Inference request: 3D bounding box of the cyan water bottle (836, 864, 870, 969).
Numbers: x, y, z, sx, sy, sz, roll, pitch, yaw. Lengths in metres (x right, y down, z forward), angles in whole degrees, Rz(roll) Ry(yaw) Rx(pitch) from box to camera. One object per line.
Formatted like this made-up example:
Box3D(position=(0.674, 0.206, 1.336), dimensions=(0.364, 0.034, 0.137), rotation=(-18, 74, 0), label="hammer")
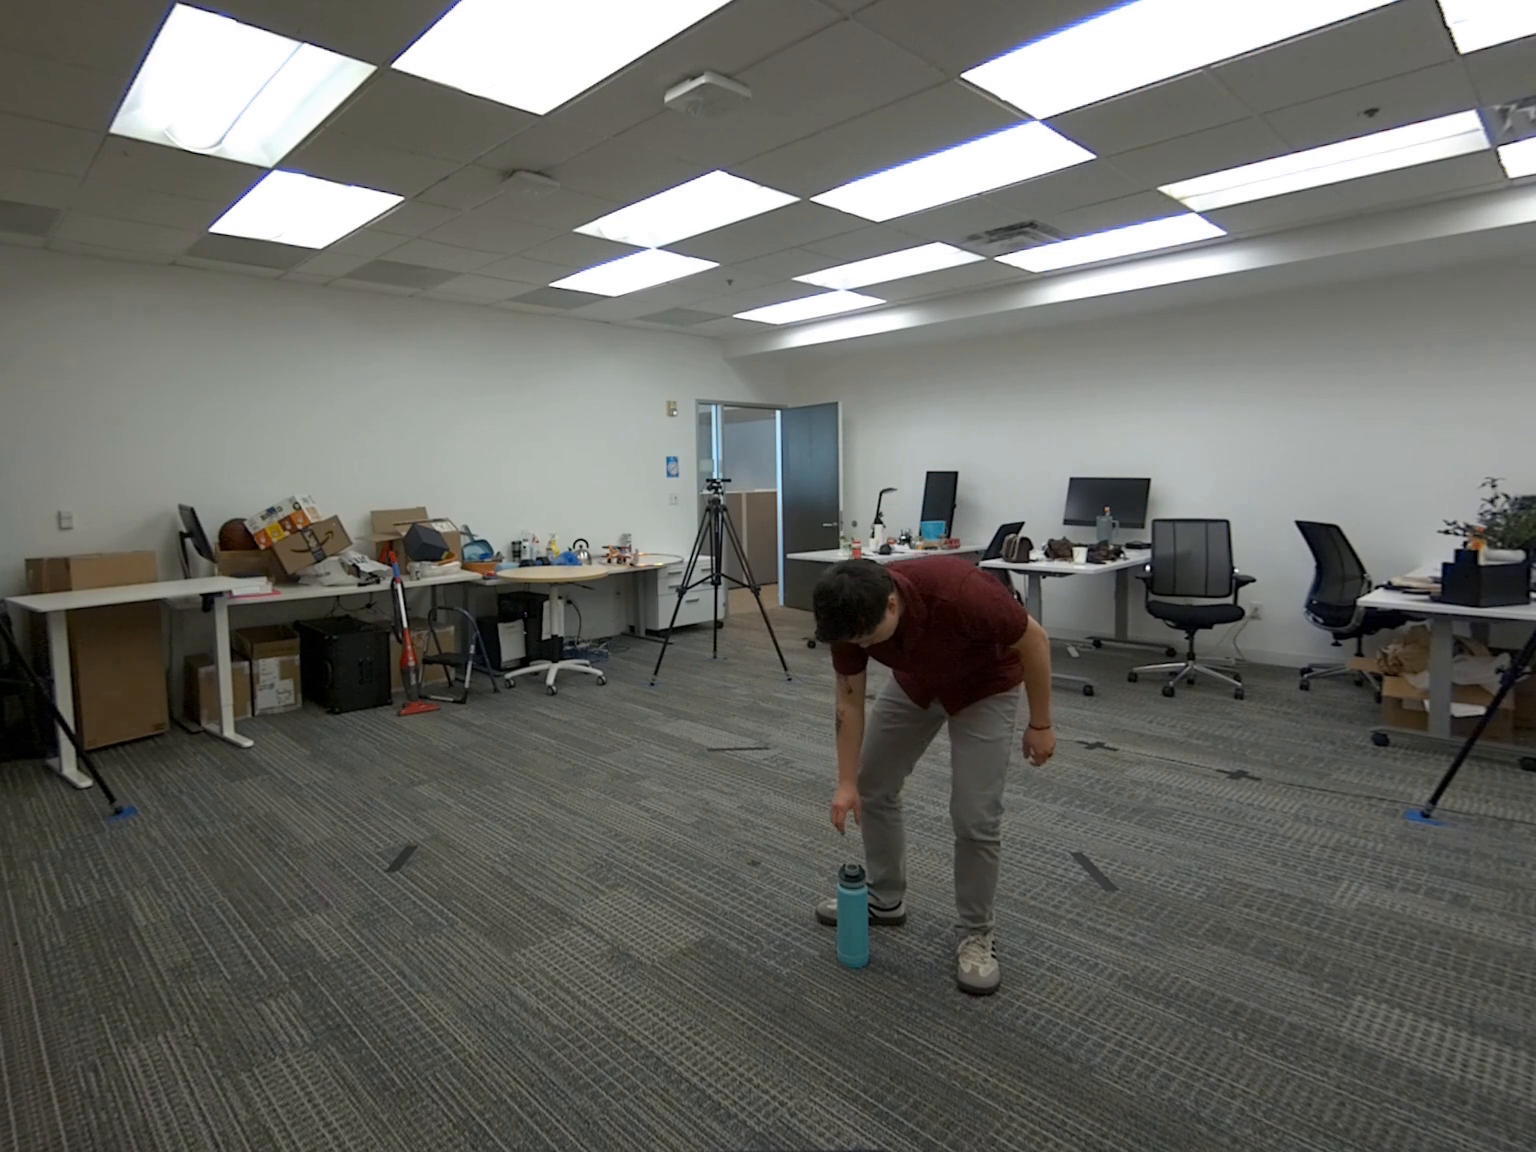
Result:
Box3D(position=(0.246, 0.978, 2.470), dimensions=(0.092, 0.282, 0.093), rotation=(0, 5, -2), label="cyan water bottle")
